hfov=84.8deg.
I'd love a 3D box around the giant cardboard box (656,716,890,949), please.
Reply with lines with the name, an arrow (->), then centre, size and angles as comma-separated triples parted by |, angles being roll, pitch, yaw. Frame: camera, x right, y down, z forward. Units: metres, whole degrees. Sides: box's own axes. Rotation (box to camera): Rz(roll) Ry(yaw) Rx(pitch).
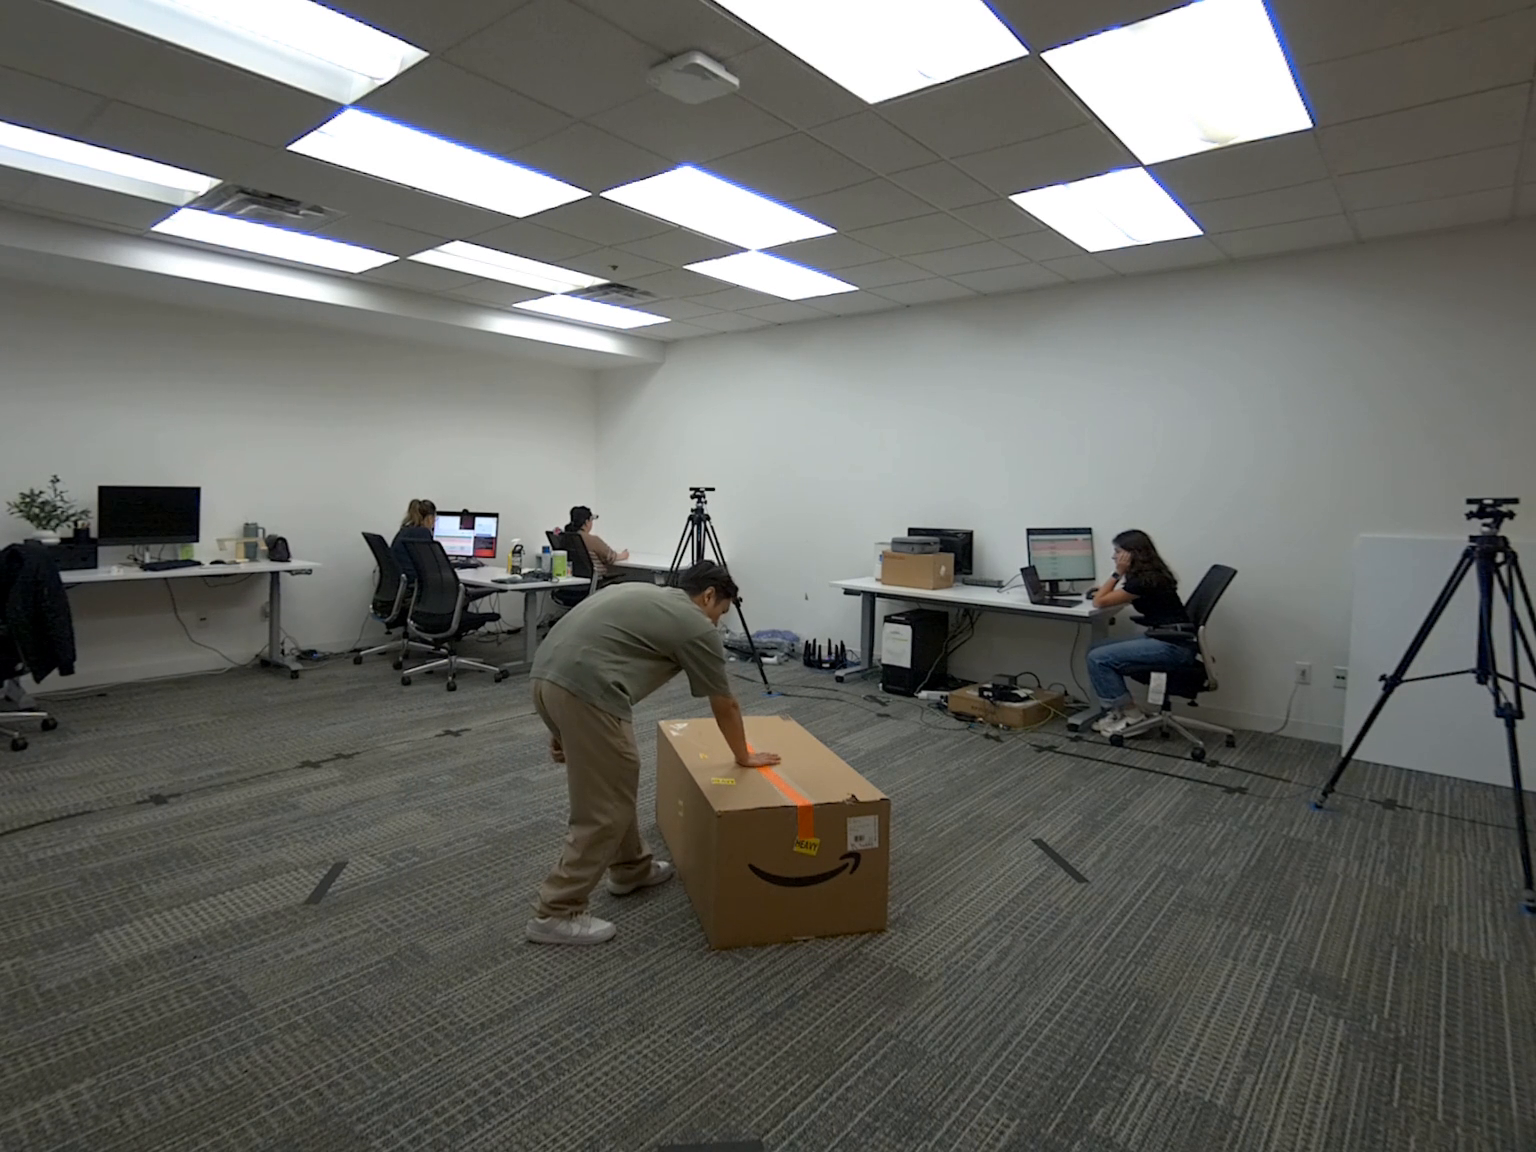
giant cardboard box -> -0.044, 0.854, 3.103 | 0.568, 0.424, 1.047 | -1, 6, -16
